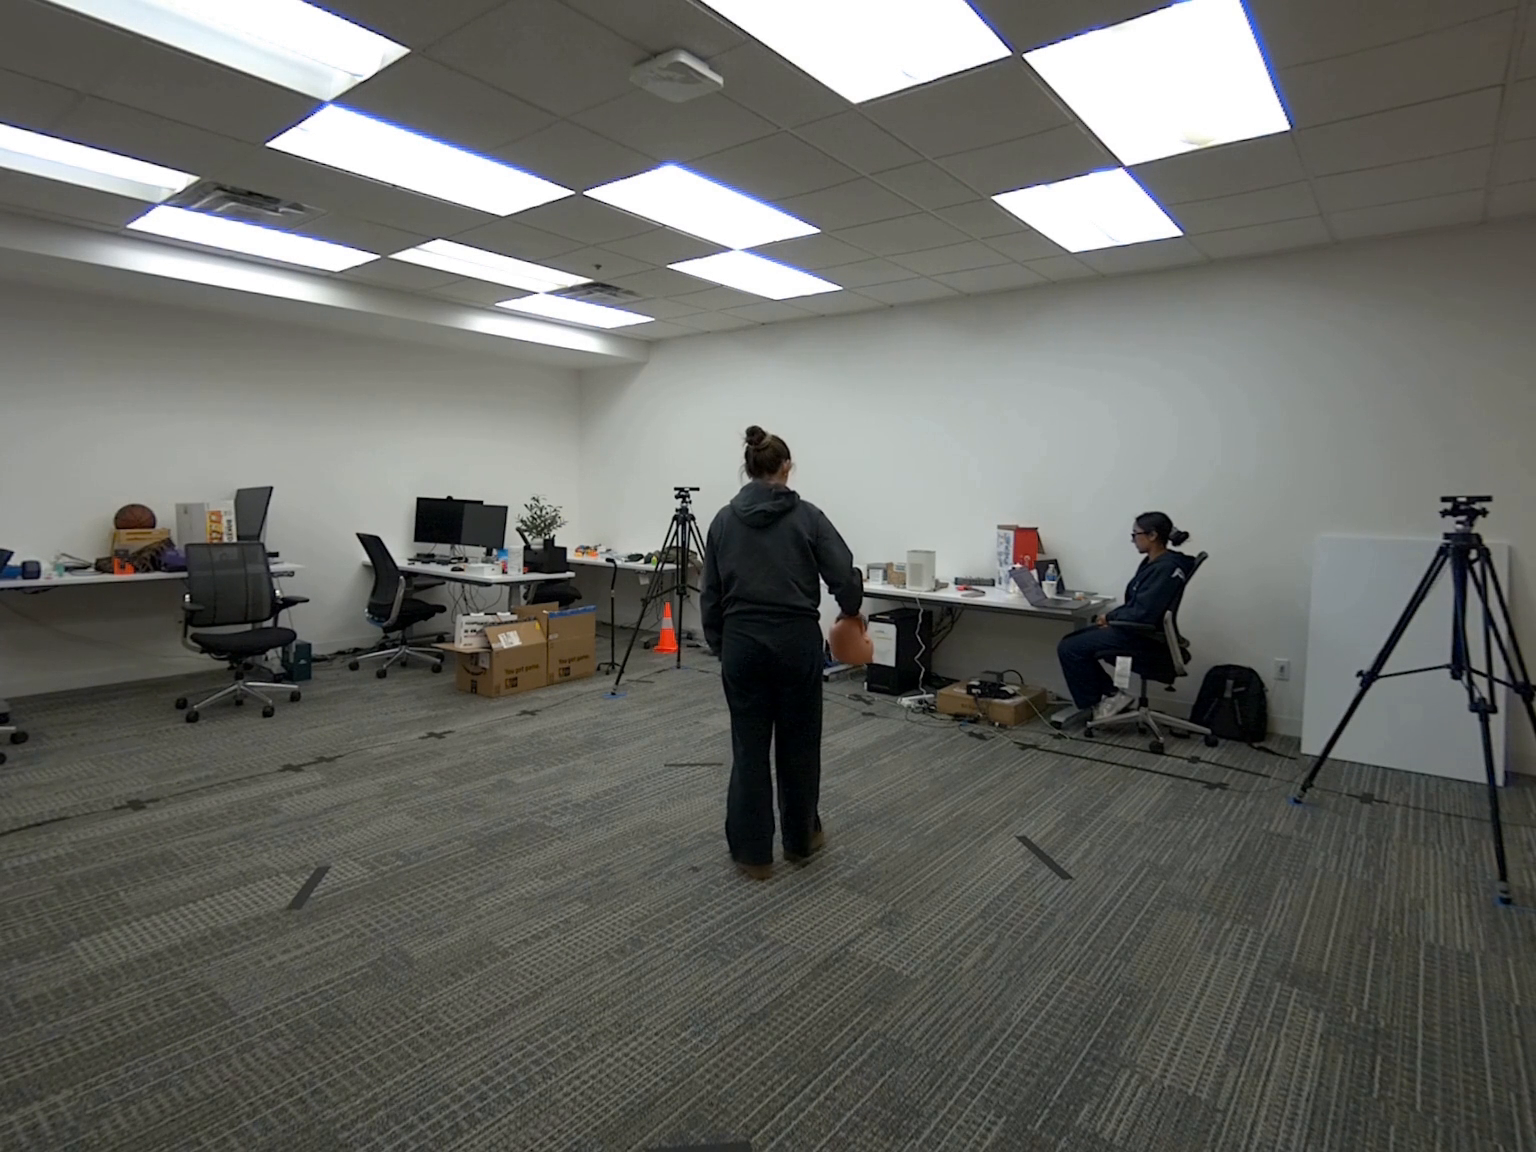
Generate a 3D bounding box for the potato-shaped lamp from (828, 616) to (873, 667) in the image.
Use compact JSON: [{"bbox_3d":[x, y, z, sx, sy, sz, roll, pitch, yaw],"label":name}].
[{"bbox_3d":[0.322,0.238,3.324,0.171,0.195,0.168,-10,17,-5],"label":"potato-shaped lamp"}]
